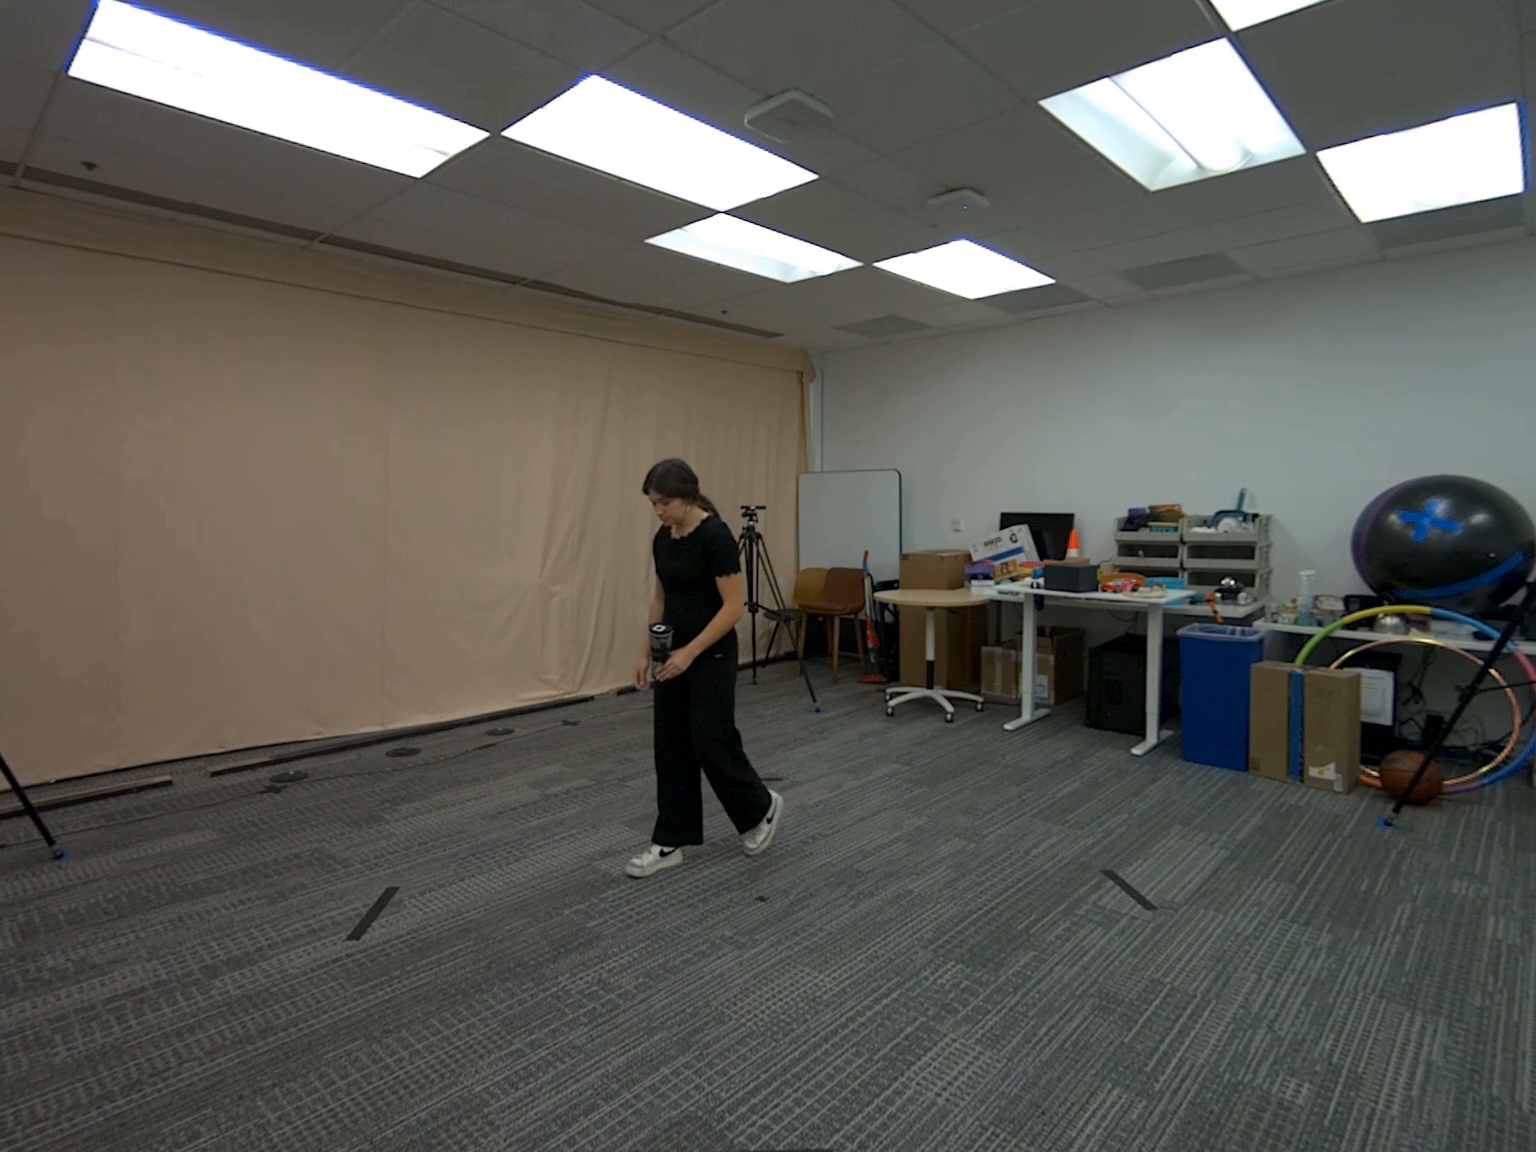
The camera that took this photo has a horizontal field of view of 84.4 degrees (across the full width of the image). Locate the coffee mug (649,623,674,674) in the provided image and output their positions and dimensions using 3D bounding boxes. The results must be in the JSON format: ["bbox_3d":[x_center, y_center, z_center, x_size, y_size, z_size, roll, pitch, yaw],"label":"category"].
[{"bbox_3d":[-0.382,0.284,3.037,0.089,0.201,0.121,9,19,11],"label":"coffee mug"}]
